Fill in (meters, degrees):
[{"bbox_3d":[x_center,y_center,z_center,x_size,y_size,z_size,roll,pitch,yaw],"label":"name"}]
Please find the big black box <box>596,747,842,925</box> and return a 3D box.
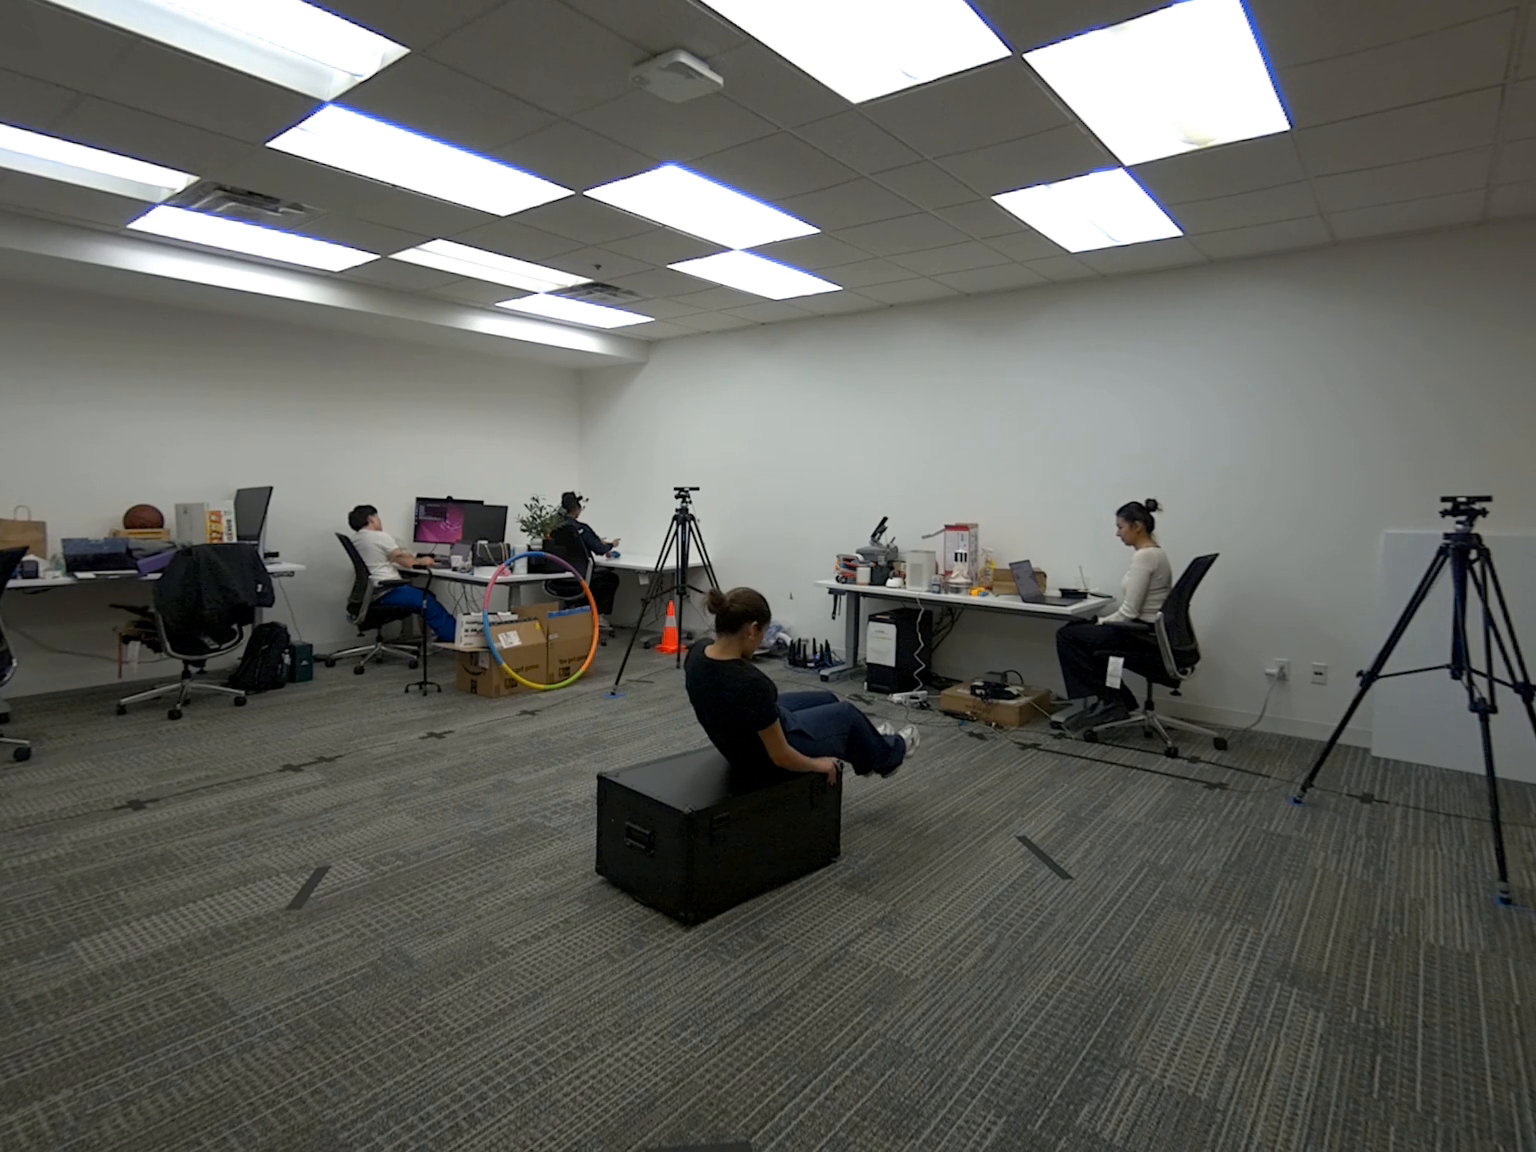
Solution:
[{"bbox_3d":[-0.174,0.881,3.079,0.835,0.395,0.539,-3,5,-44],"label":"big black box"}]
